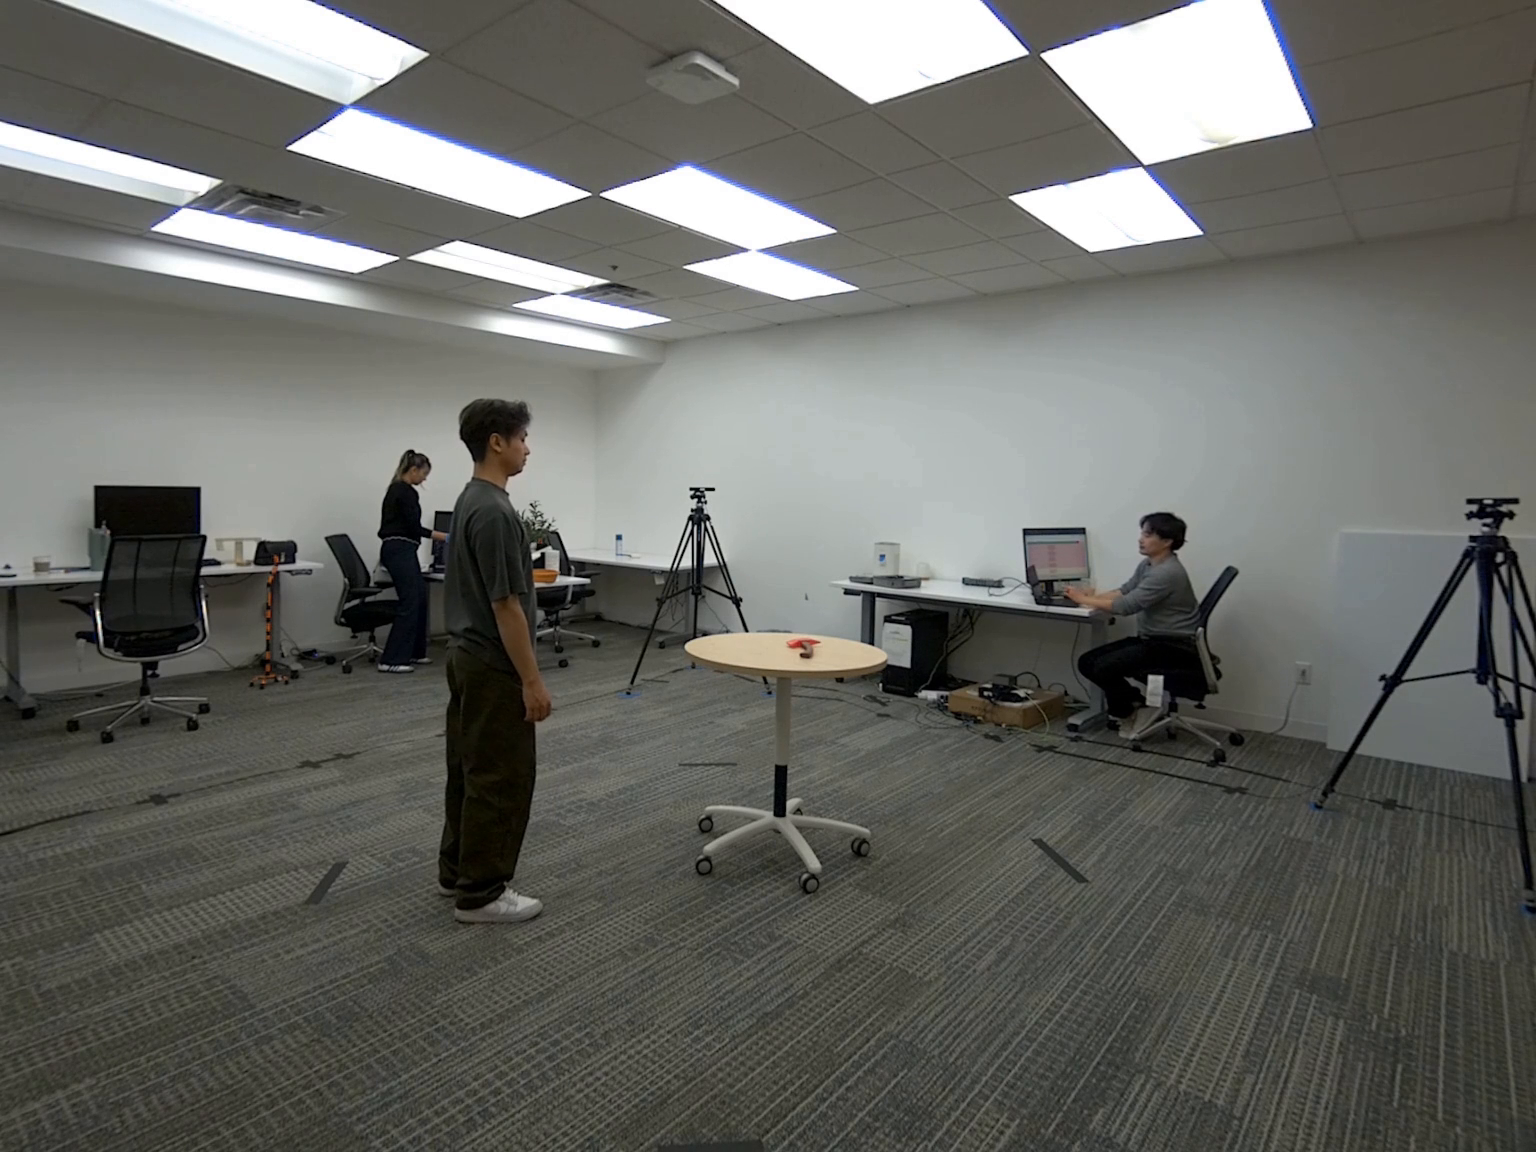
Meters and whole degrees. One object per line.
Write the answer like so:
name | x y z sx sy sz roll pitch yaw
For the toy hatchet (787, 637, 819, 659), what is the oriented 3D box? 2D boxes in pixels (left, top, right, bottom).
toy hatchet | 0.118 0.270 3.217 0.133 0.029 0.267 1 7 12
